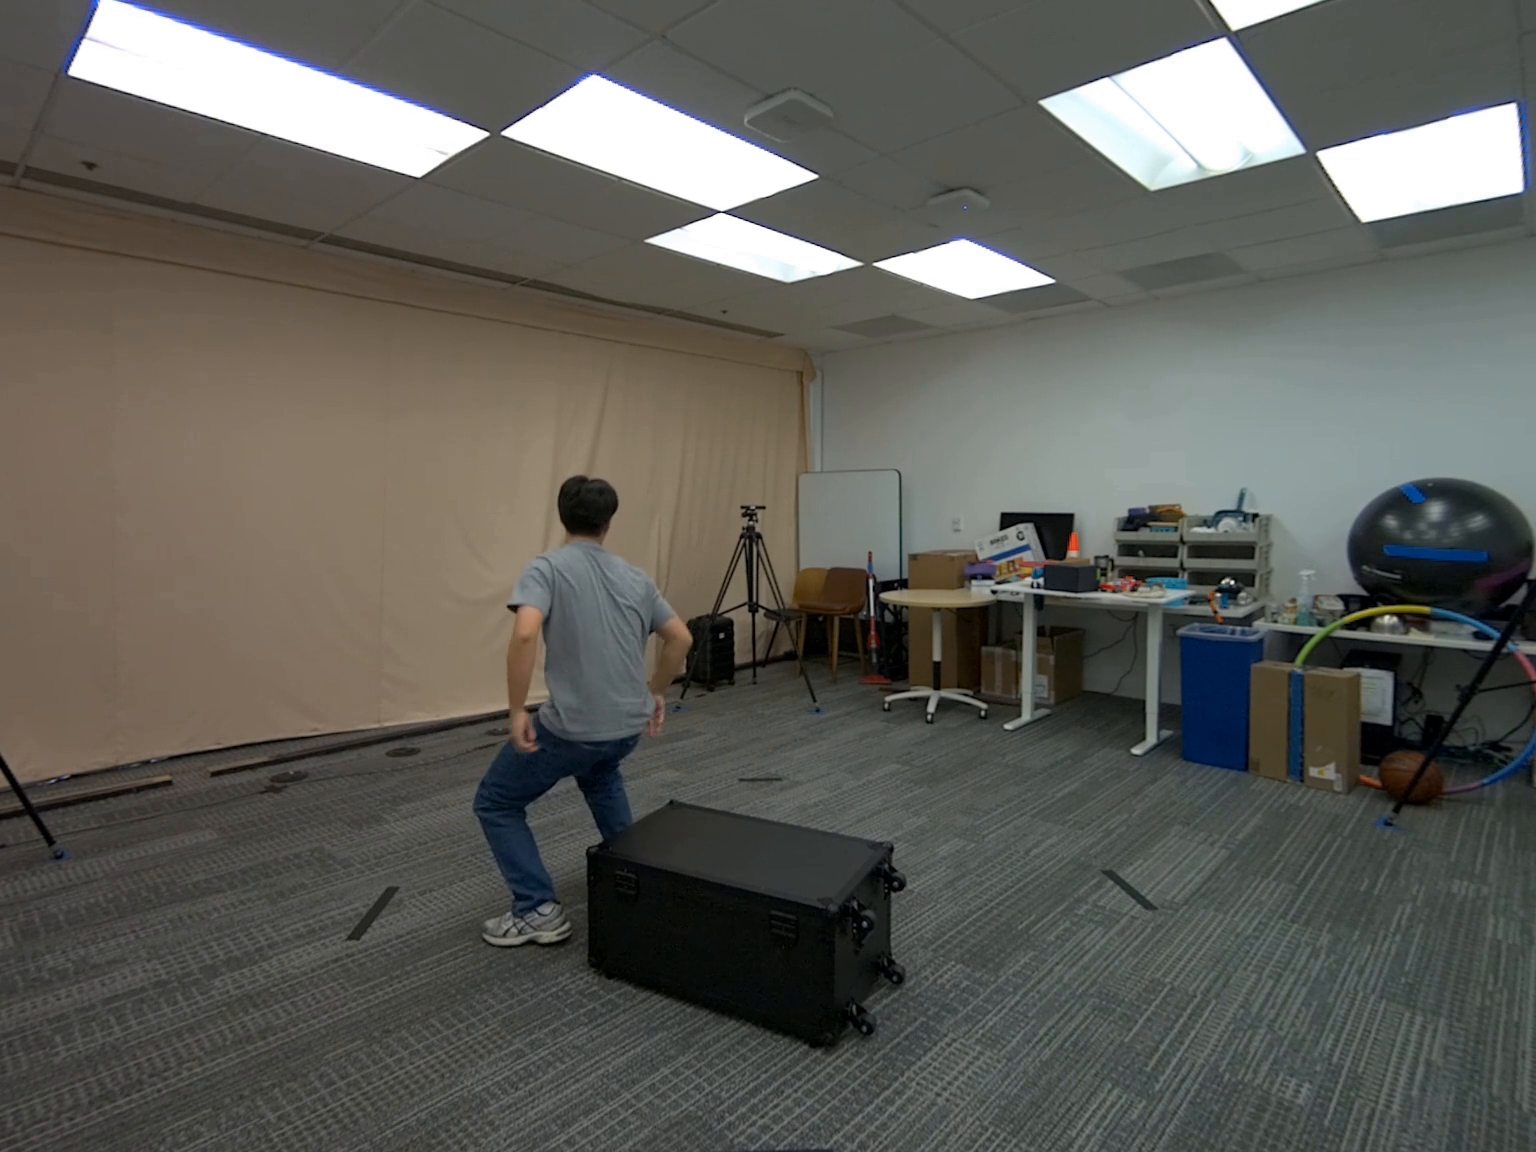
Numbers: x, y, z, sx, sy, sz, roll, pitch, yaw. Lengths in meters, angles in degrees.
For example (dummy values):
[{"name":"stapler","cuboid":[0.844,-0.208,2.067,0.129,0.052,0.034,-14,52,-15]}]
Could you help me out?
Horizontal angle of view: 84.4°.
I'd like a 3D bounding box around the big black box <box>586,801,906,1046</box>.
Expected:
[{"name":"big black box","cuboid":[-0.048,0.995,2.496,0.885,0.395,0.508,2,4,27]}]
